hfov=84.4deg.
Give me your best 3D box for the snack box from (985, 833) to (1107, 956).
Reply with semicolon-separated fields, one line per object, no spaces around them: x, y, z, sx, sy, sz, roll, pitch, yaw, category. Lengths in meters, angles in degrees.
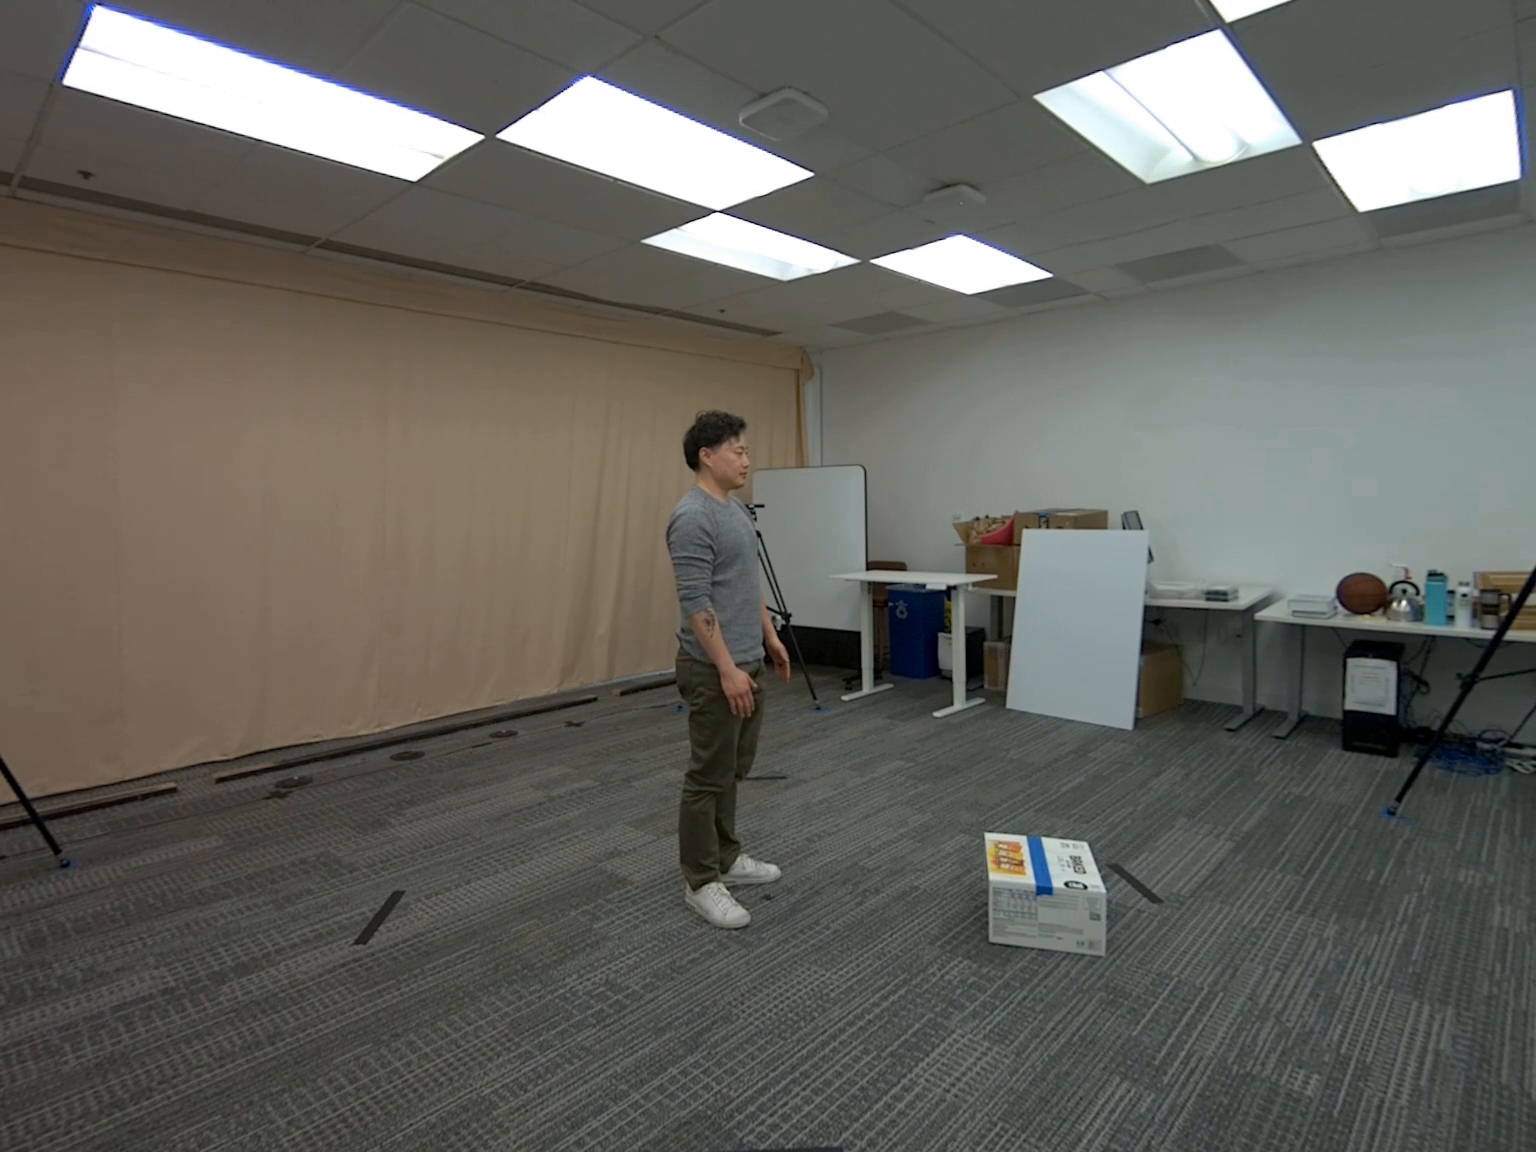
0.898;1.034;2.785;0.346;0.205;0.400;0;4;13;snack box
